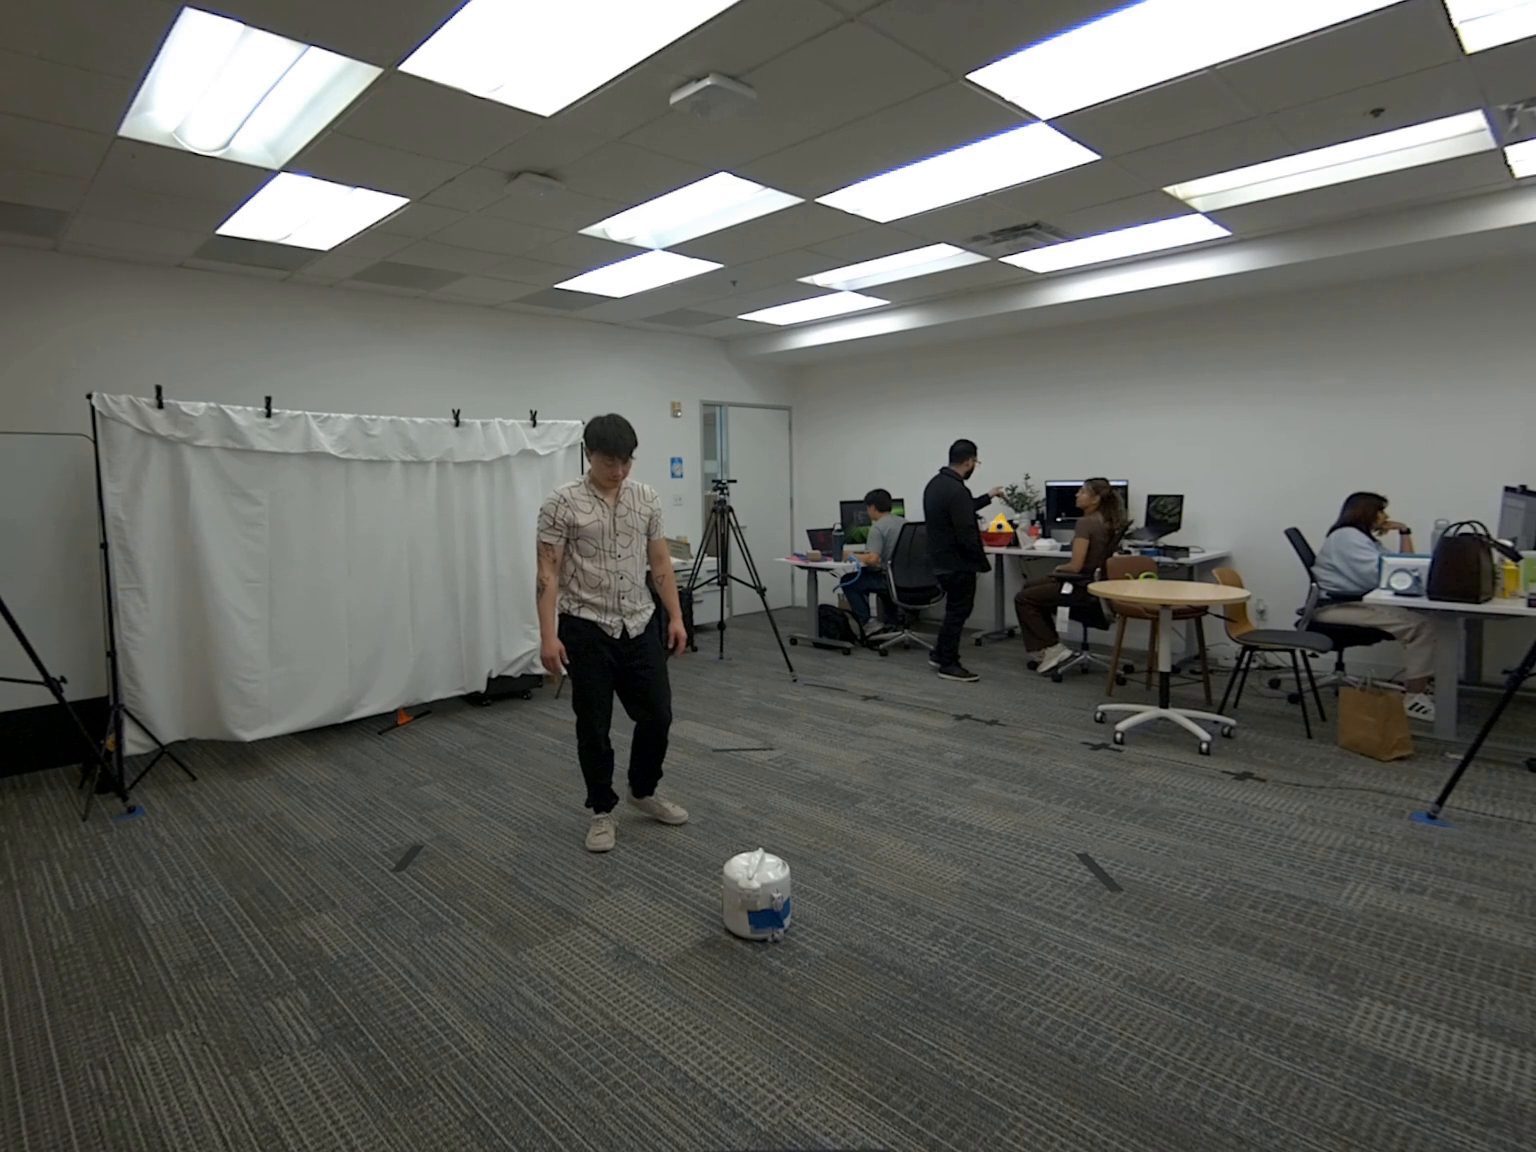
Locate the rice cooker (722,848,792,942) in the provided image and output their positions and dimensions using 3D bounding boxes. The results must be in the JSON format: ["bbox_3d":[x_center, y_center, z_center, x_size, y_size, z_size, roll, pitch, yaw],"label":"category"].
[{"bbox_3d":[-0.034,0.981,2.664,0.220,0.232,0.218,1,5,14],"label":"rice cooker"}]
